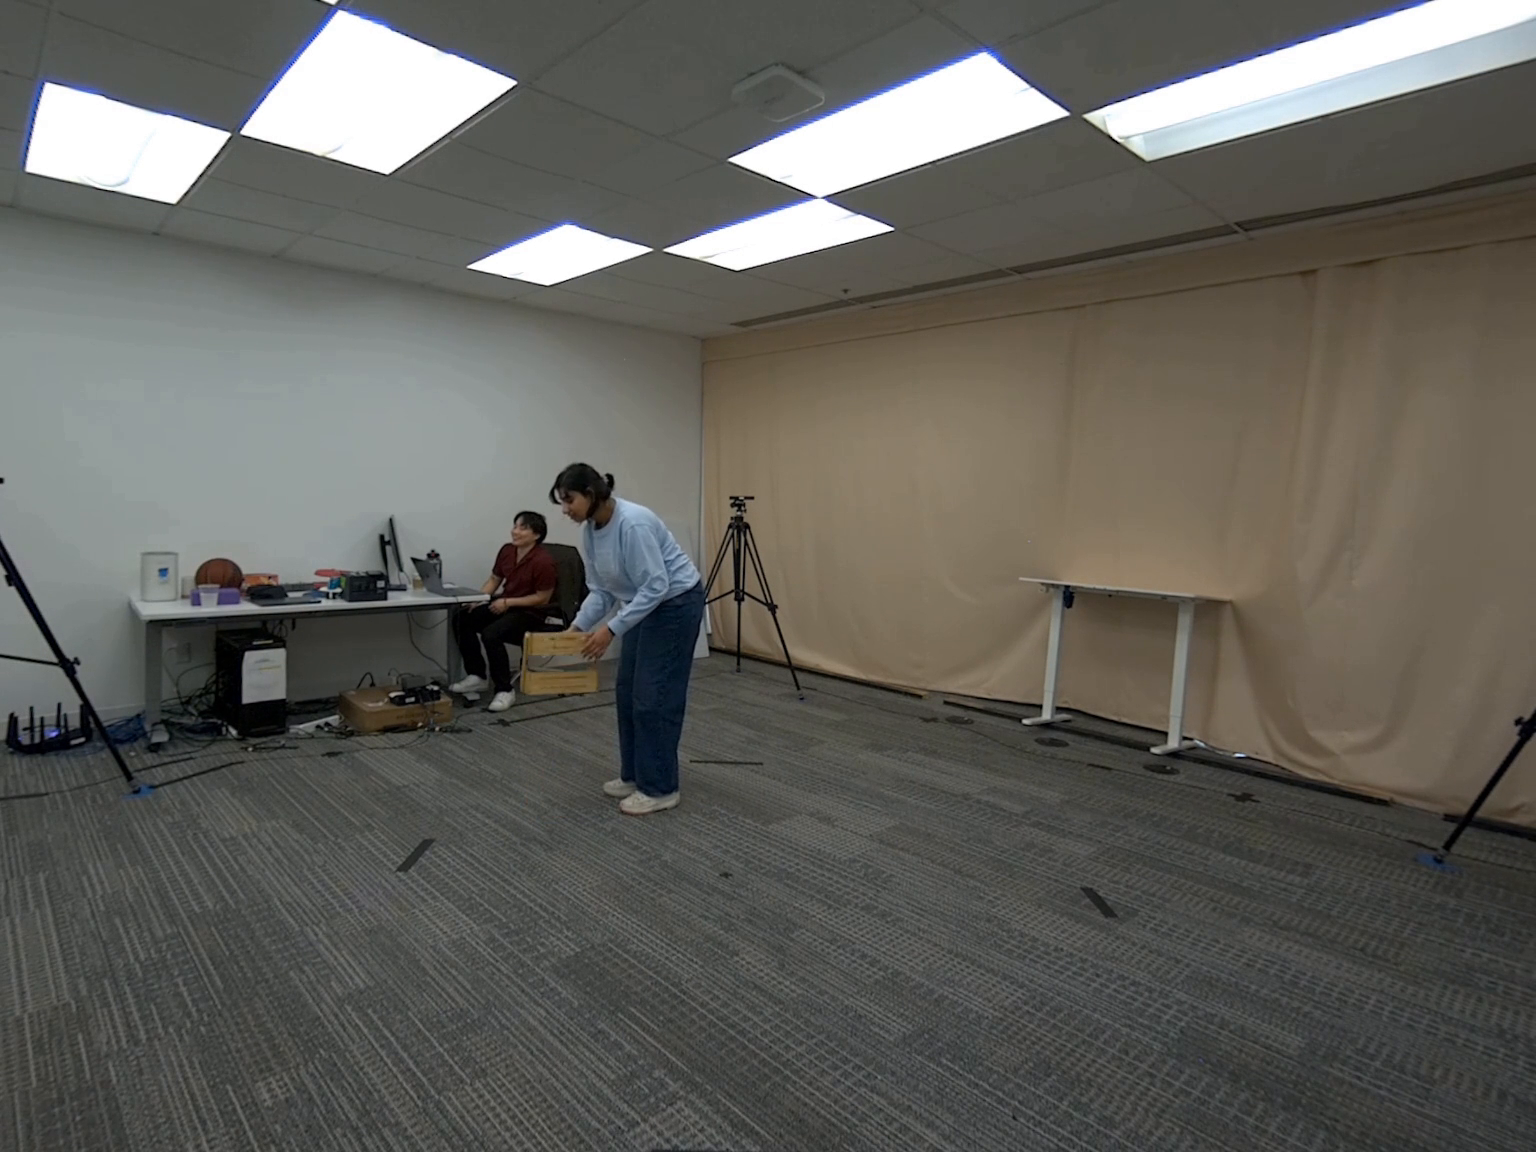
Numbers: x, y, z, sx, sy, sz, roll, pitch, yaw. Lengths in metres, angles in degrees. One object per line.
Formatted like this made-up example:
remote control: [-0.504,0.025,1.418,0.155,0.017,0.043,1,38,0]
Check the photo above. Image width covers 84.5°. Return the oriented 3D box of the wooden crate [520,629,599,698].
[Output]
wooden crate: [-0.914,0.371,3.690,0.319,0.273,0.306,0,0,-21]
